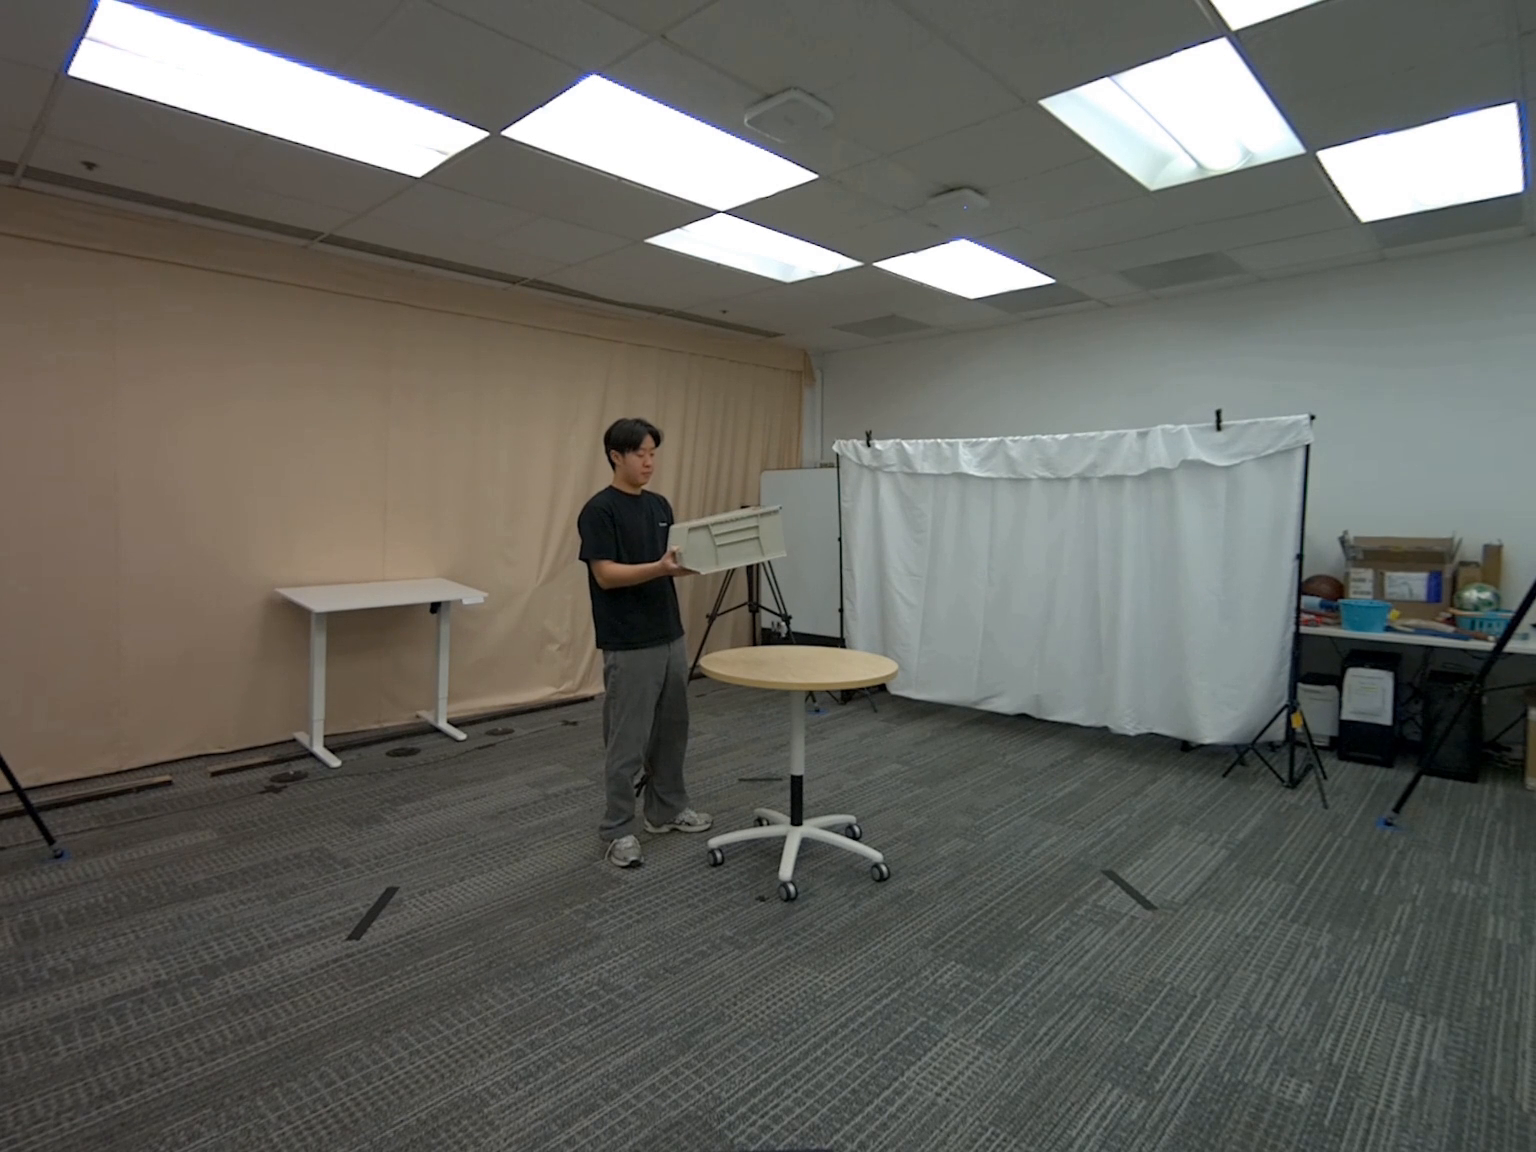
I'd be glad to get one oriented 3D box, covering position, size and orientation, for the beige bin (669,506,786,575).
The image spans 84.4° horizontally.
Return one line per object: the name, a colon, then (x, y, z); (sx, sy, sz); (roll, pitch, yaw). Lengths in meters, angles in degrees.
beige bin: (-0.165, -0.131, 3.125); (0.374, 0.188, 0.426); (-12, 3, -9)
